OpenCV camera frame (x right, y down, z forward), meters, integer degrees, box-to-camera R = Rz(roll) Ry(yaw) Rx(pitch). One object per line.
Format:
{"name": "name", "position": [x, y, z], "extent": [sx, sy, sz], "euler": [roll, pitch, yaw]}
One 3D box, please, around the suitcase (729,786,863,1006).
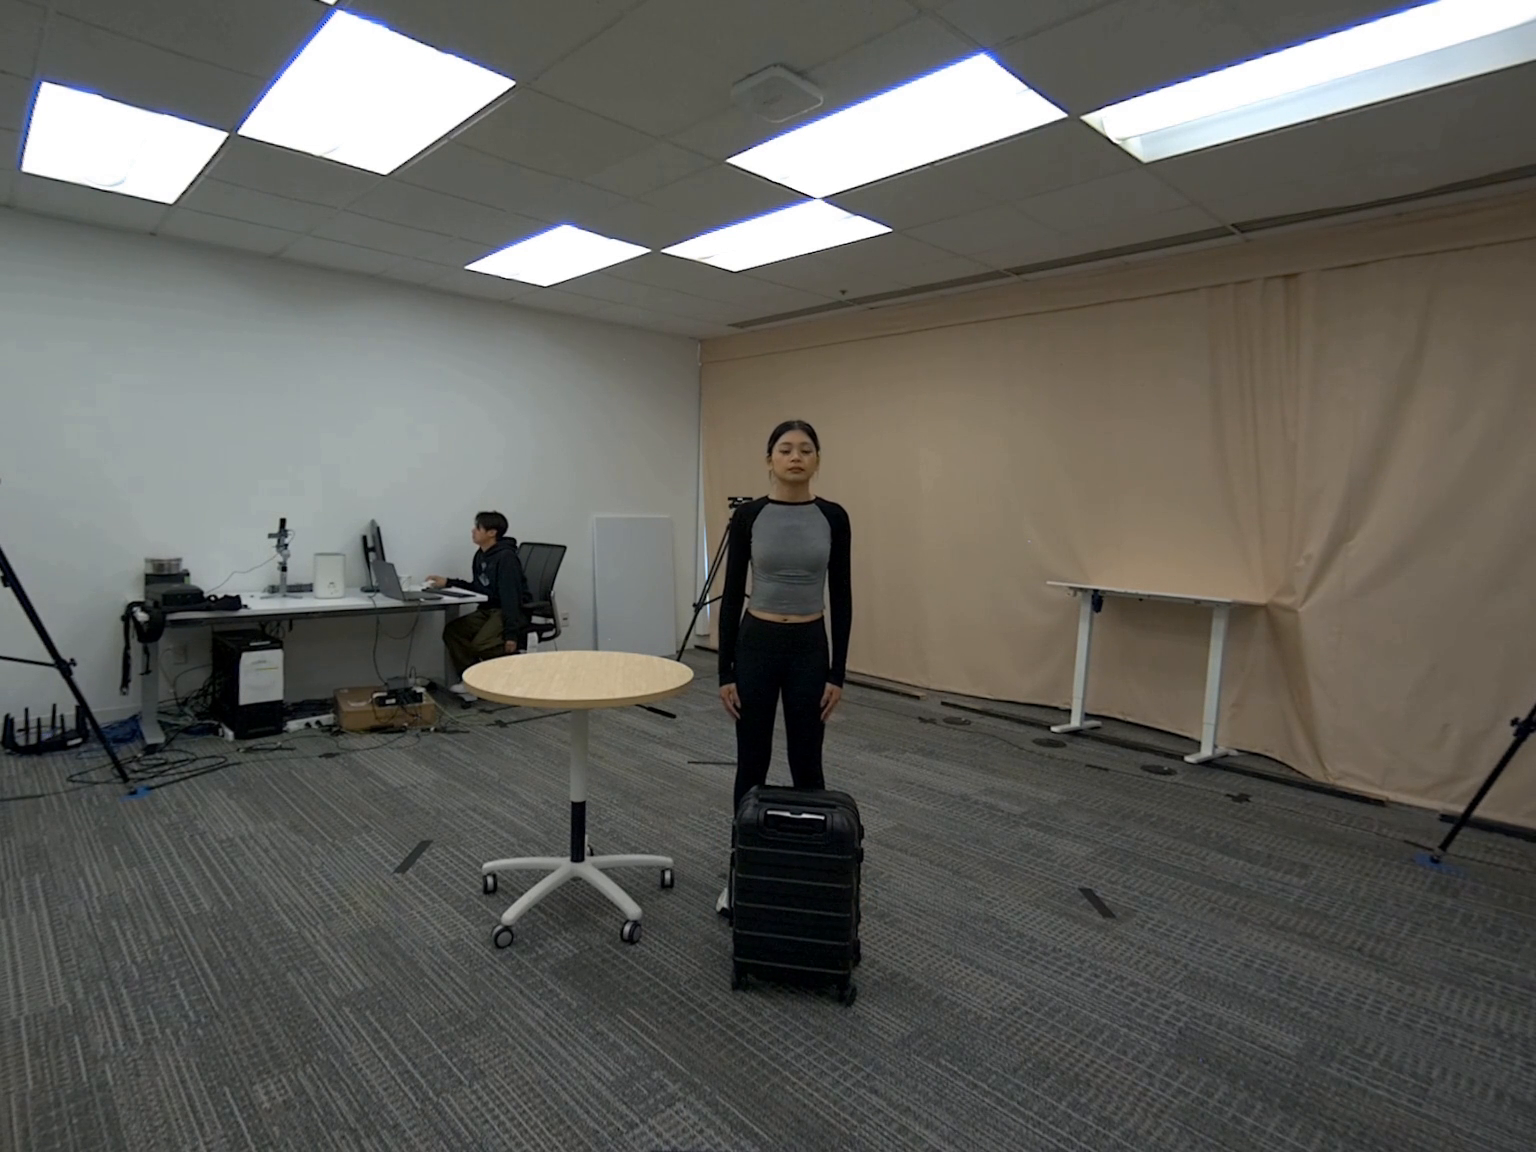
{"name": "suitcase", "position": [0.072, 0.899, 2.436], "extent": [0.379, 0.547, 0.247], "euler": [2, 4, 10]}
